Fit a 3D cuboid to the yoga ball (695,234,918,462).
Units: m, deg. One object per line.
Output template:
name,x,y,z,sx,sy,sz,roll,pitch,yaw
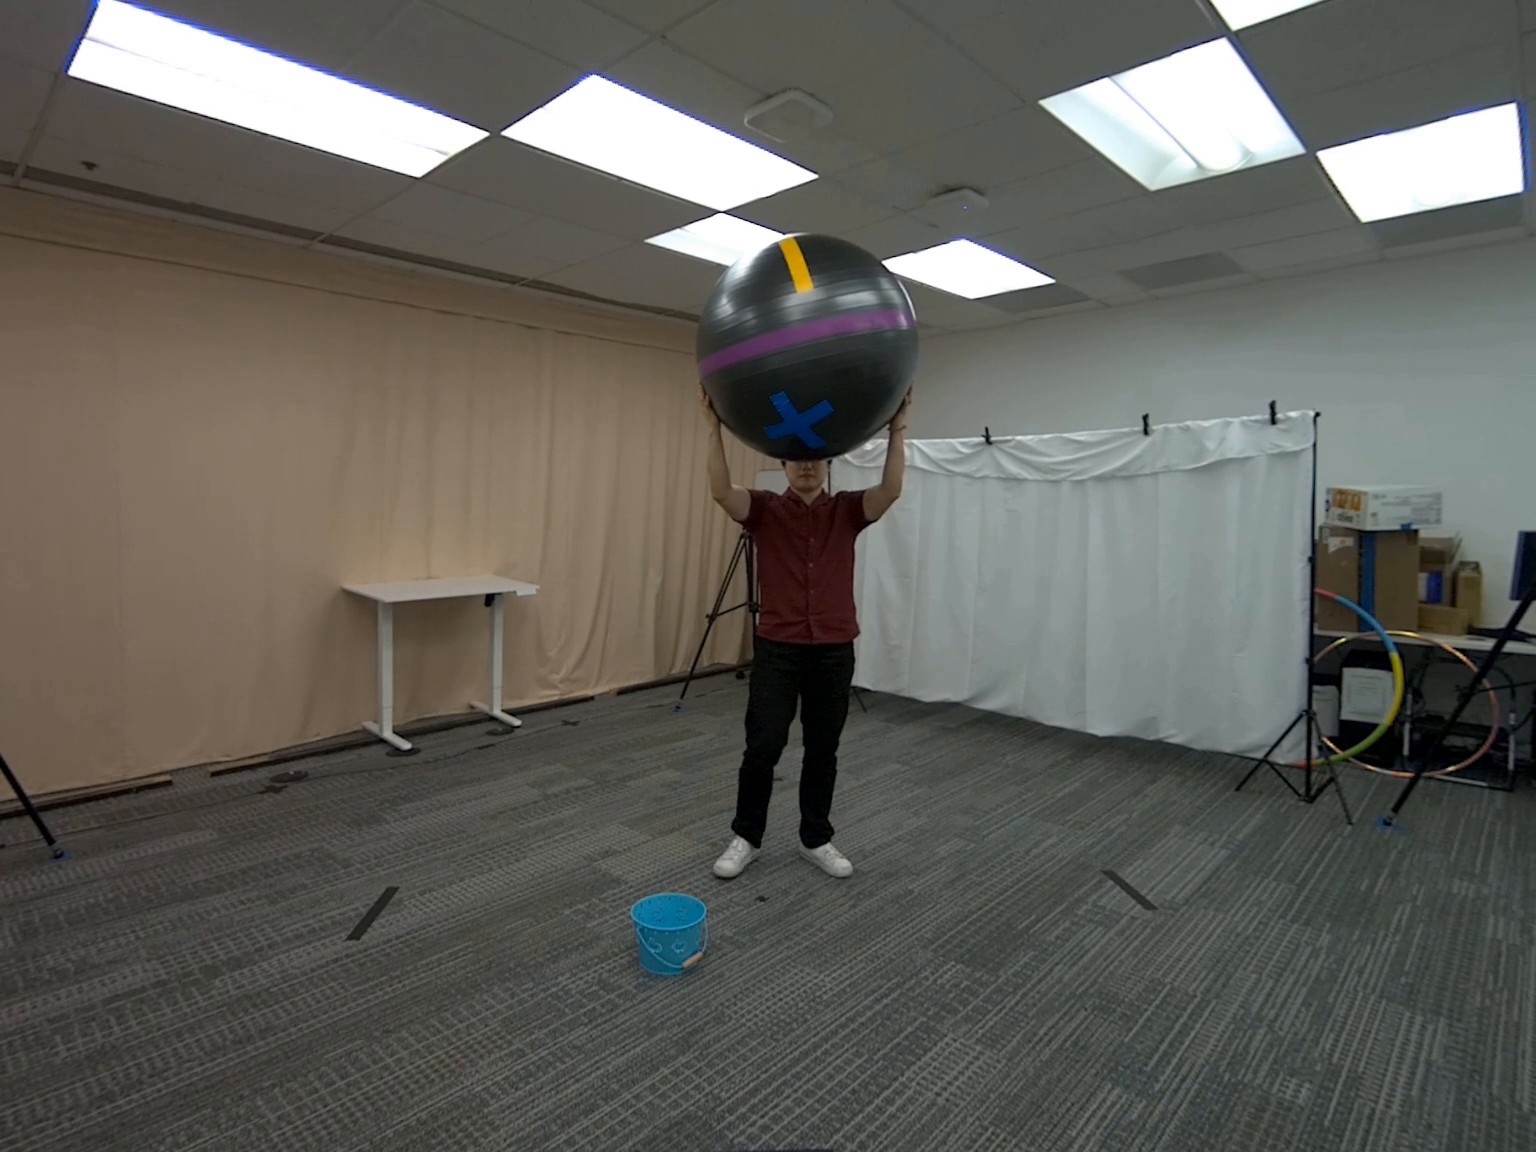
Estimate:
yoga ball,0.130,-0.766,2.890,0.757,0.756,0.760,0,4,-2
